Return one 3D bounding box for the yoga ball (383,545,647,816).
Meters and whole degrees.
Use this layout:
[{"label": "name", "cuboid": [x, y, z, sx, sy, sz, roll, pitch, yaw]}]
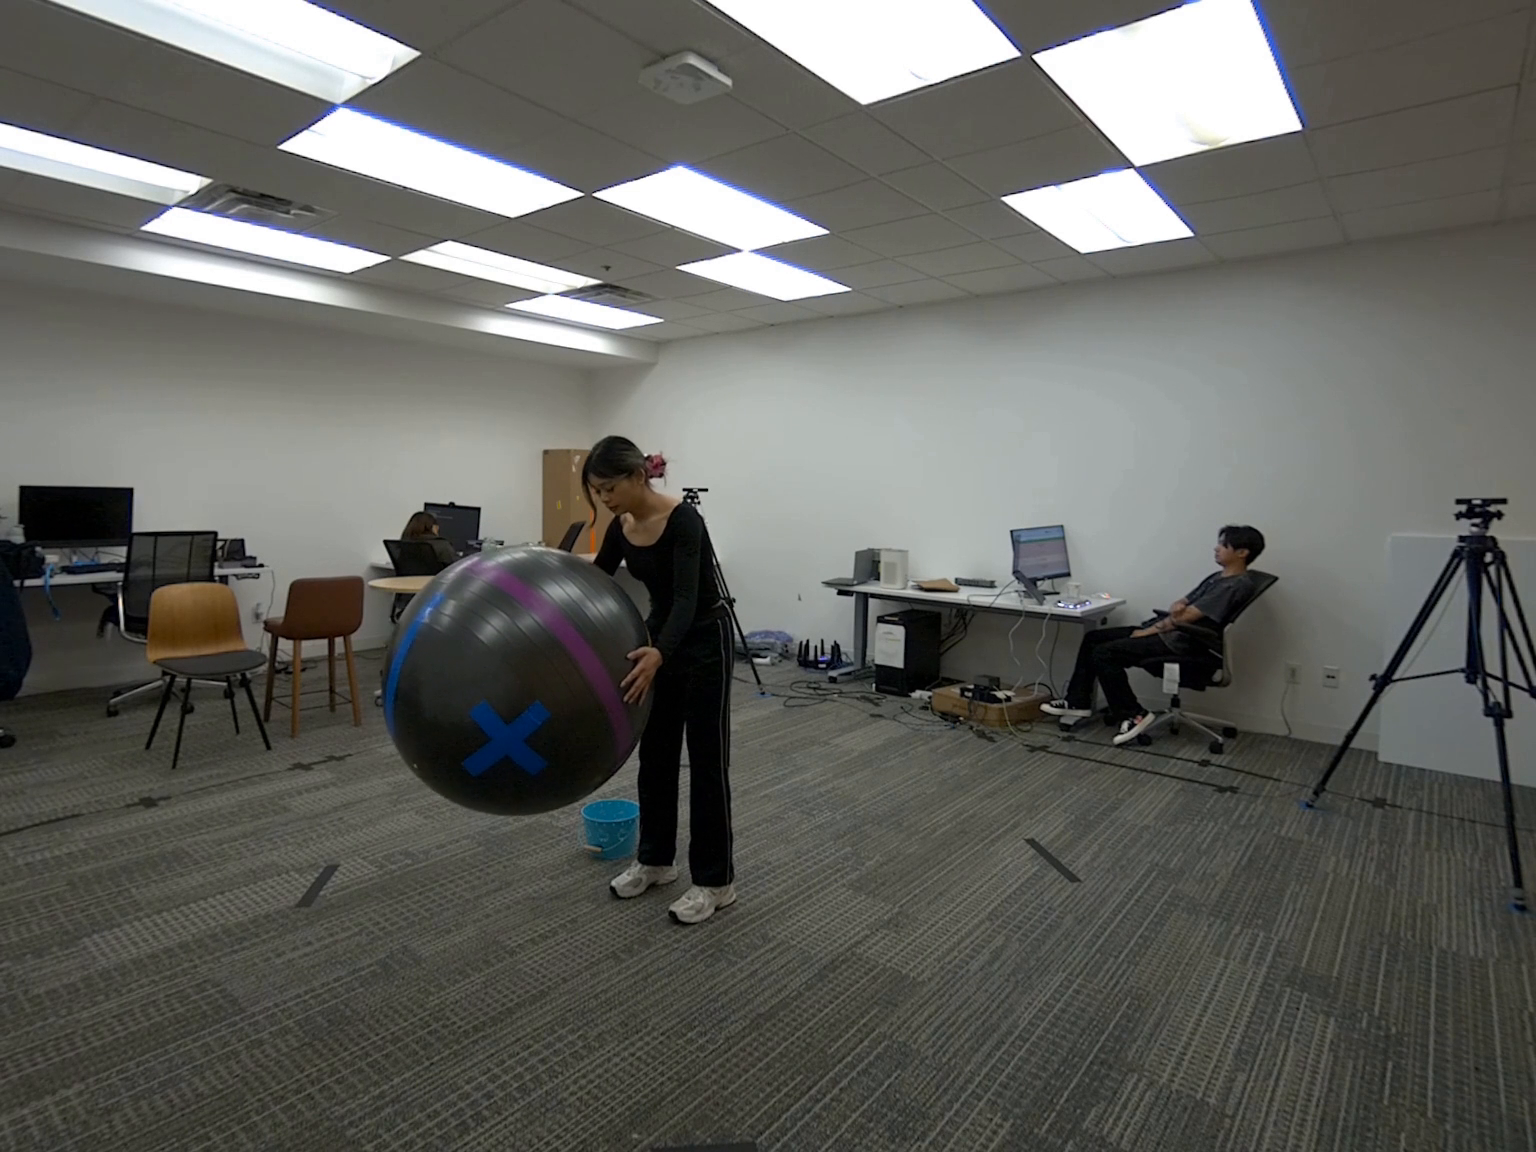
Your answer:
[{"label": "yoga ball", "cuboid": [-0.727, 0.294, 2.426, 0.757, 0.755, 0.762, 1, 4, -2]}]
